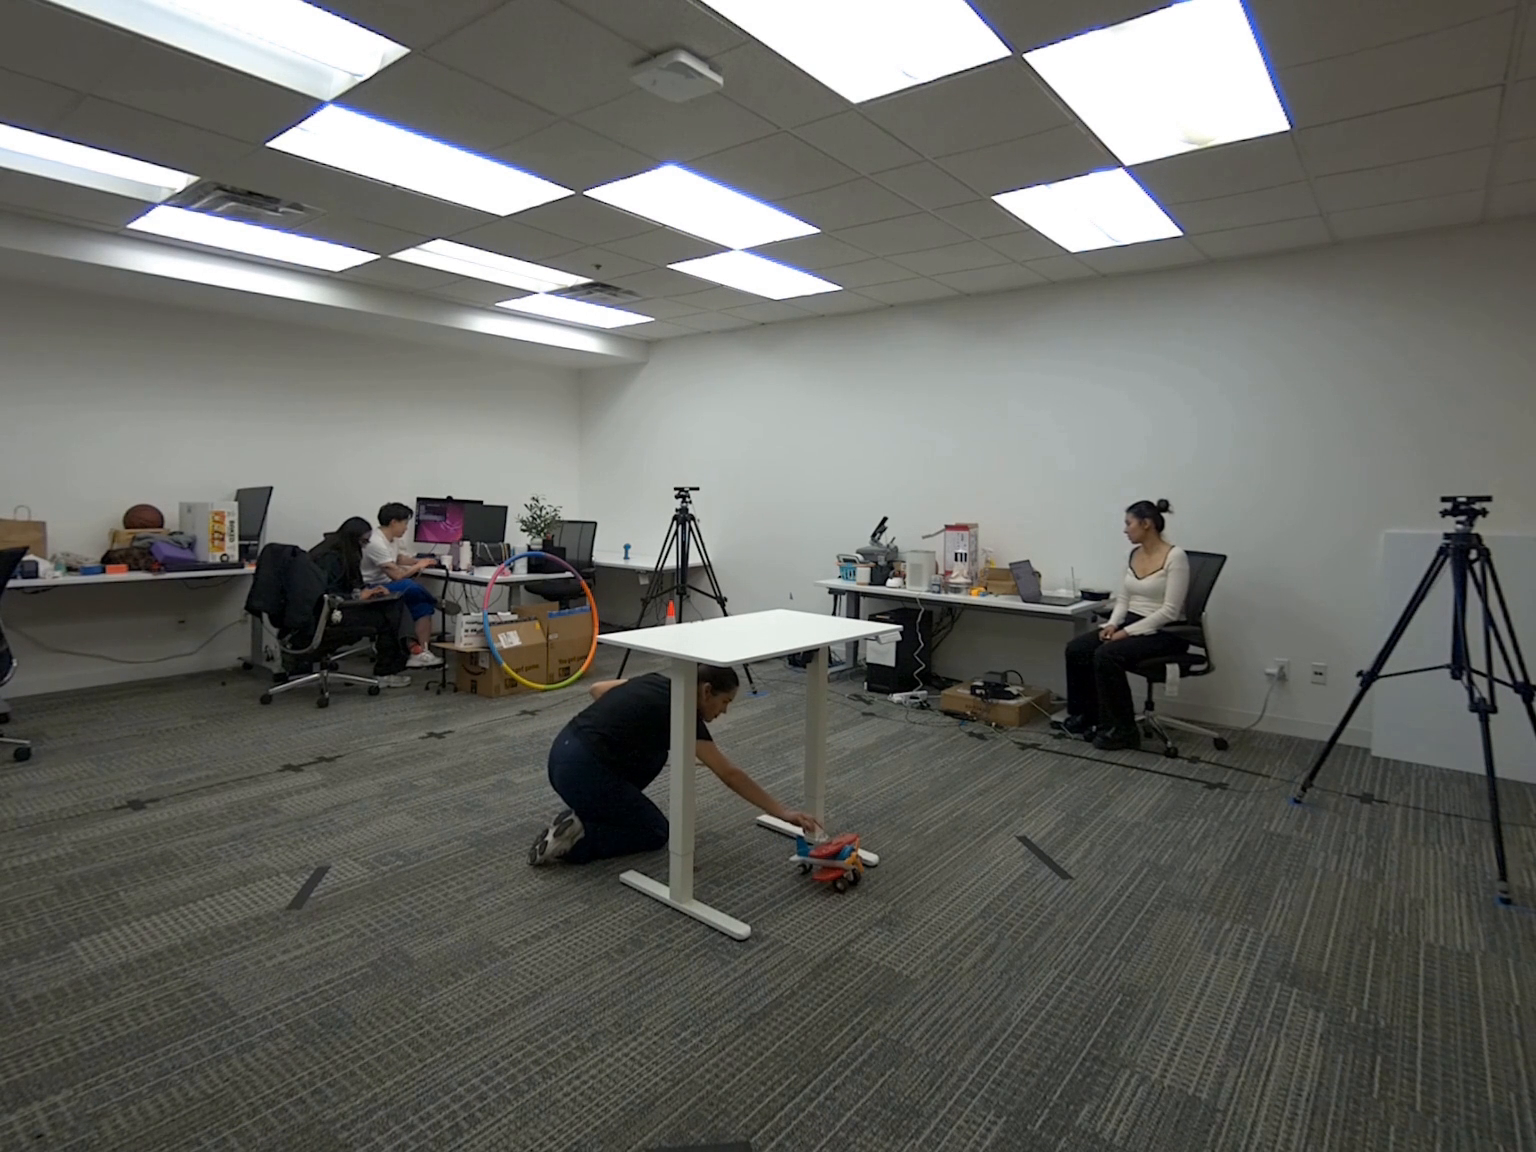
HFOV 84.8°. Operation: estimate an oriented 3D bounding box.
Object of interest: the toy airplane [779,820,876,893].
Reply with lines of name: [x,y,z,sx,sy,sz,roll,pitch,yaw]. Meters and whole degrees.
toy airplane: [0.218,1.009,3.029,0.262,0.156,0.249,4,5,10]
